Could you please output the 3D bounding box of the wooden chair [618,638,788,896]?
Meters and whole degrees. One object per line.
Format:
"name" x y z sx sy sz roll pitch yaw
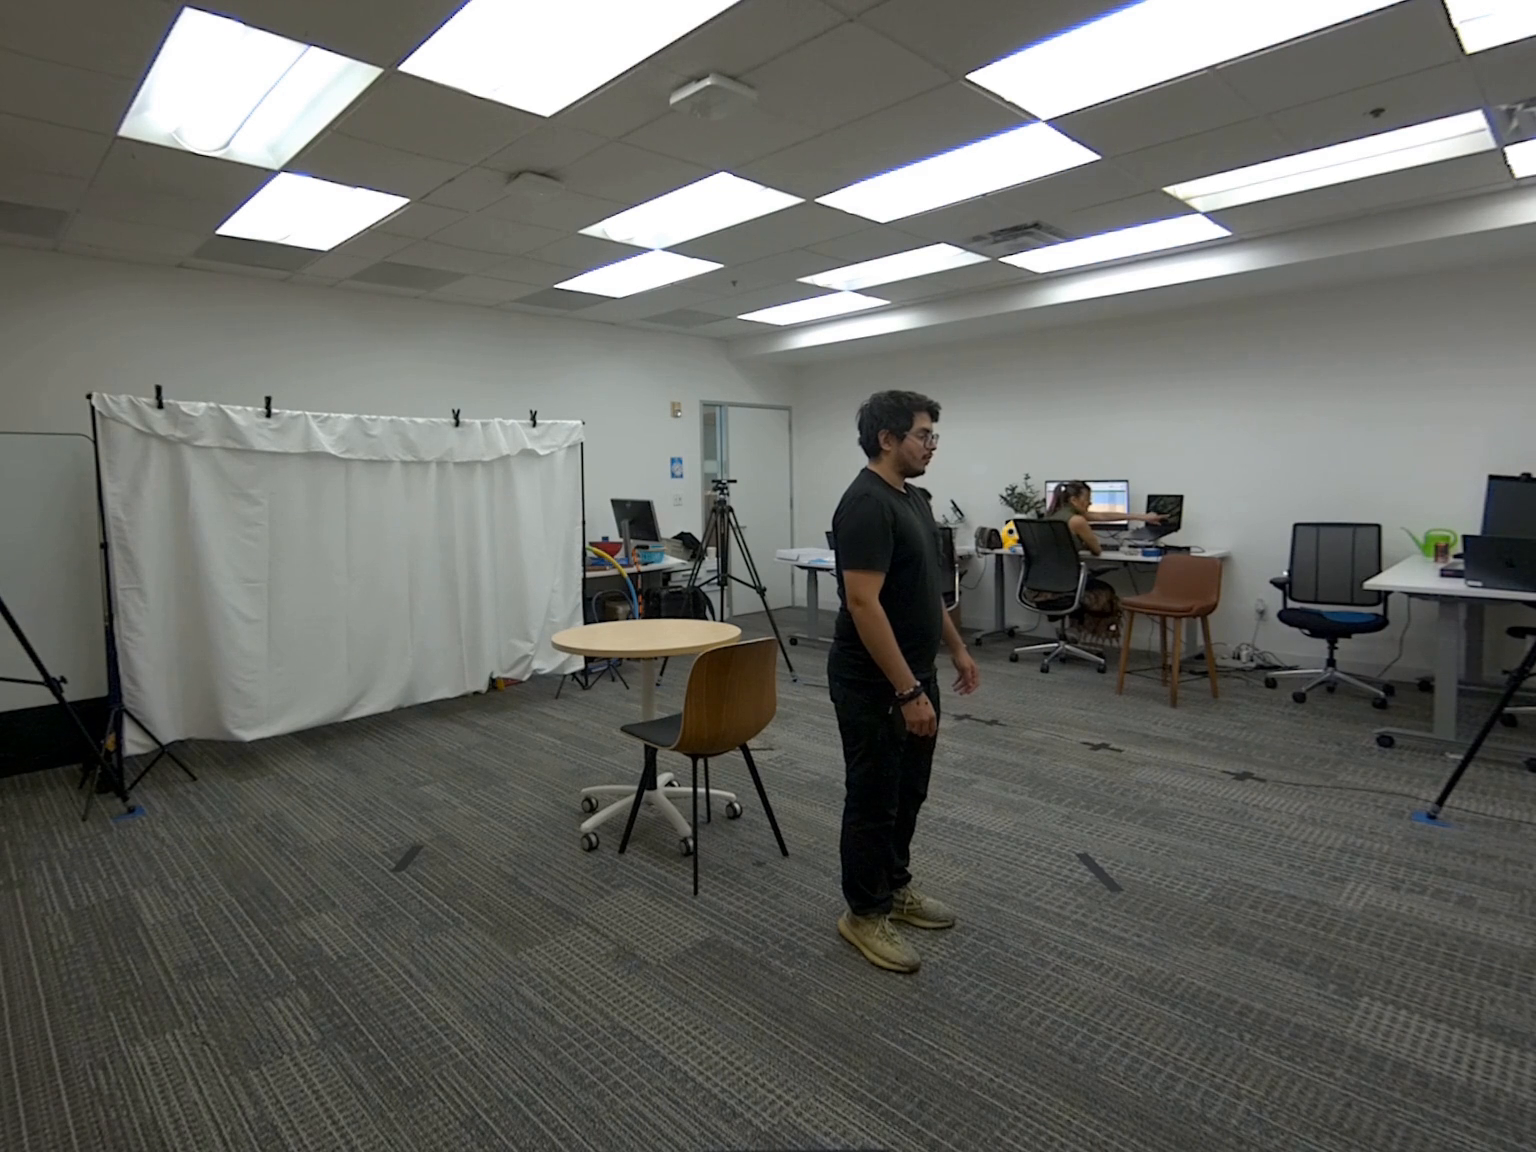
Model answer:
"wooden chair" -0.248 0.615 3.168 0.466 0.871 0.540 -6 11 -42
